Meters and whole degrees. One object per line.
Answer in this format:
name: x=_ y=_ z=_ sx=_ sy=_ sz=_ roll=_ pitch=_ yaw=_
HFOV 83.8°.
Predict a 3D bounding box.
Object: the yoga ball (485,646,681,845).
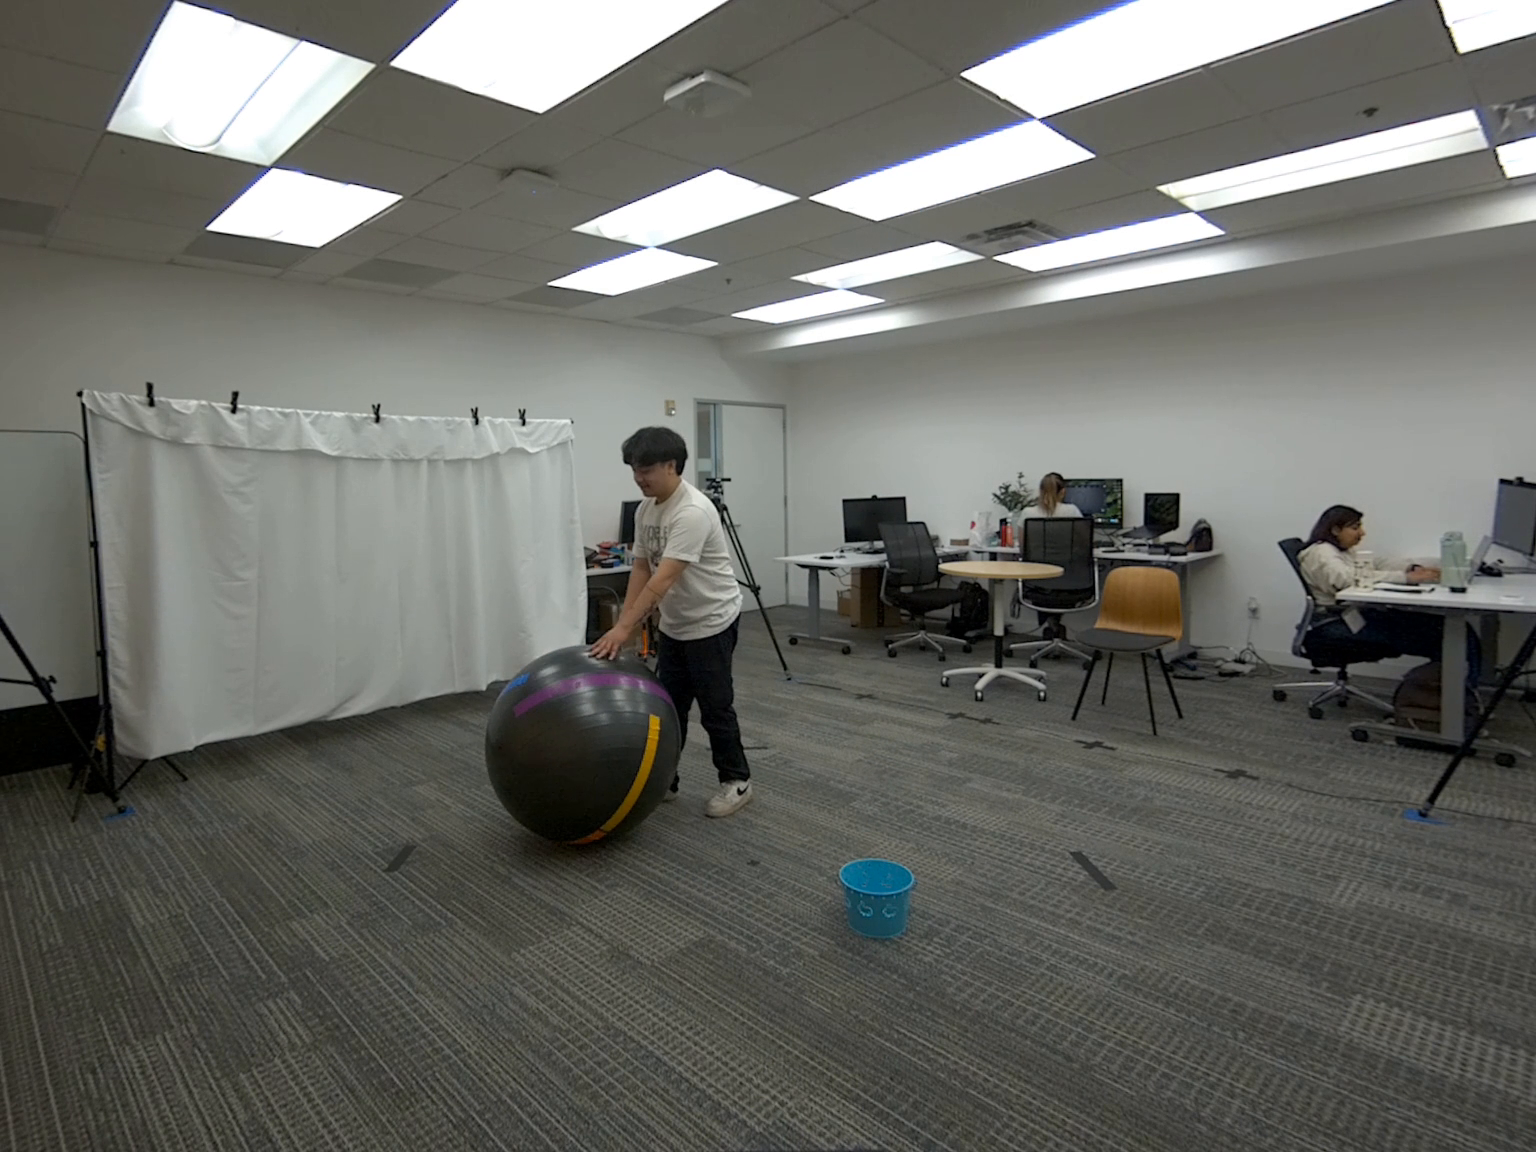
yoga ball: x=-0.727 y=0.658 z=3.362 sx=0.757 sy=0.755 sz=0.762 roll=-1 pitch=5 yaw=-2
